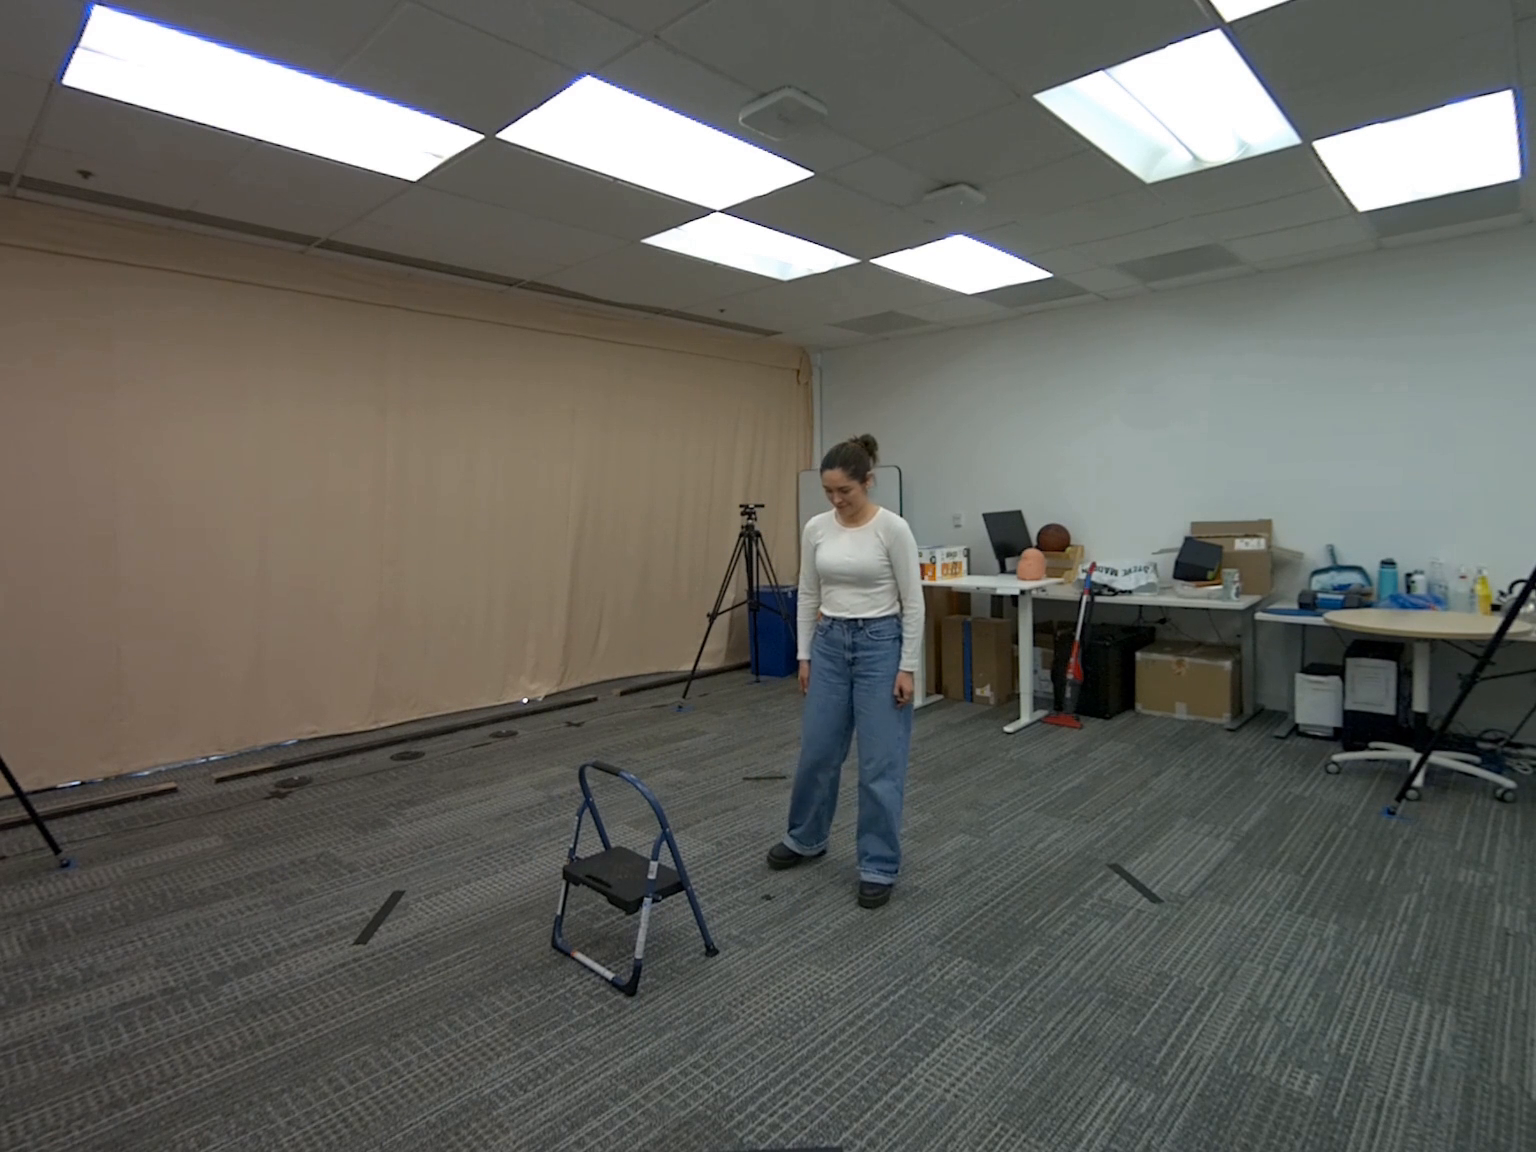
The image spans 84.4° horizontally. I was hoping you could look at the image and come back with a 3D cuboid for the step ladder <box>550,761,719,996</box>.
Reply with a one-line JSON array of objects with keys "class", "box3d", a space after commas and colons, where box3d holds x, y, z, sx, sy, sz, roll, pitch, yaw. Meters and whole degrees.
[{"class": "step ladder", "box3d": [-0.428, 0.876, 2.636, 0.445, 0.605, 0.339, 2, 4, 43]}]
